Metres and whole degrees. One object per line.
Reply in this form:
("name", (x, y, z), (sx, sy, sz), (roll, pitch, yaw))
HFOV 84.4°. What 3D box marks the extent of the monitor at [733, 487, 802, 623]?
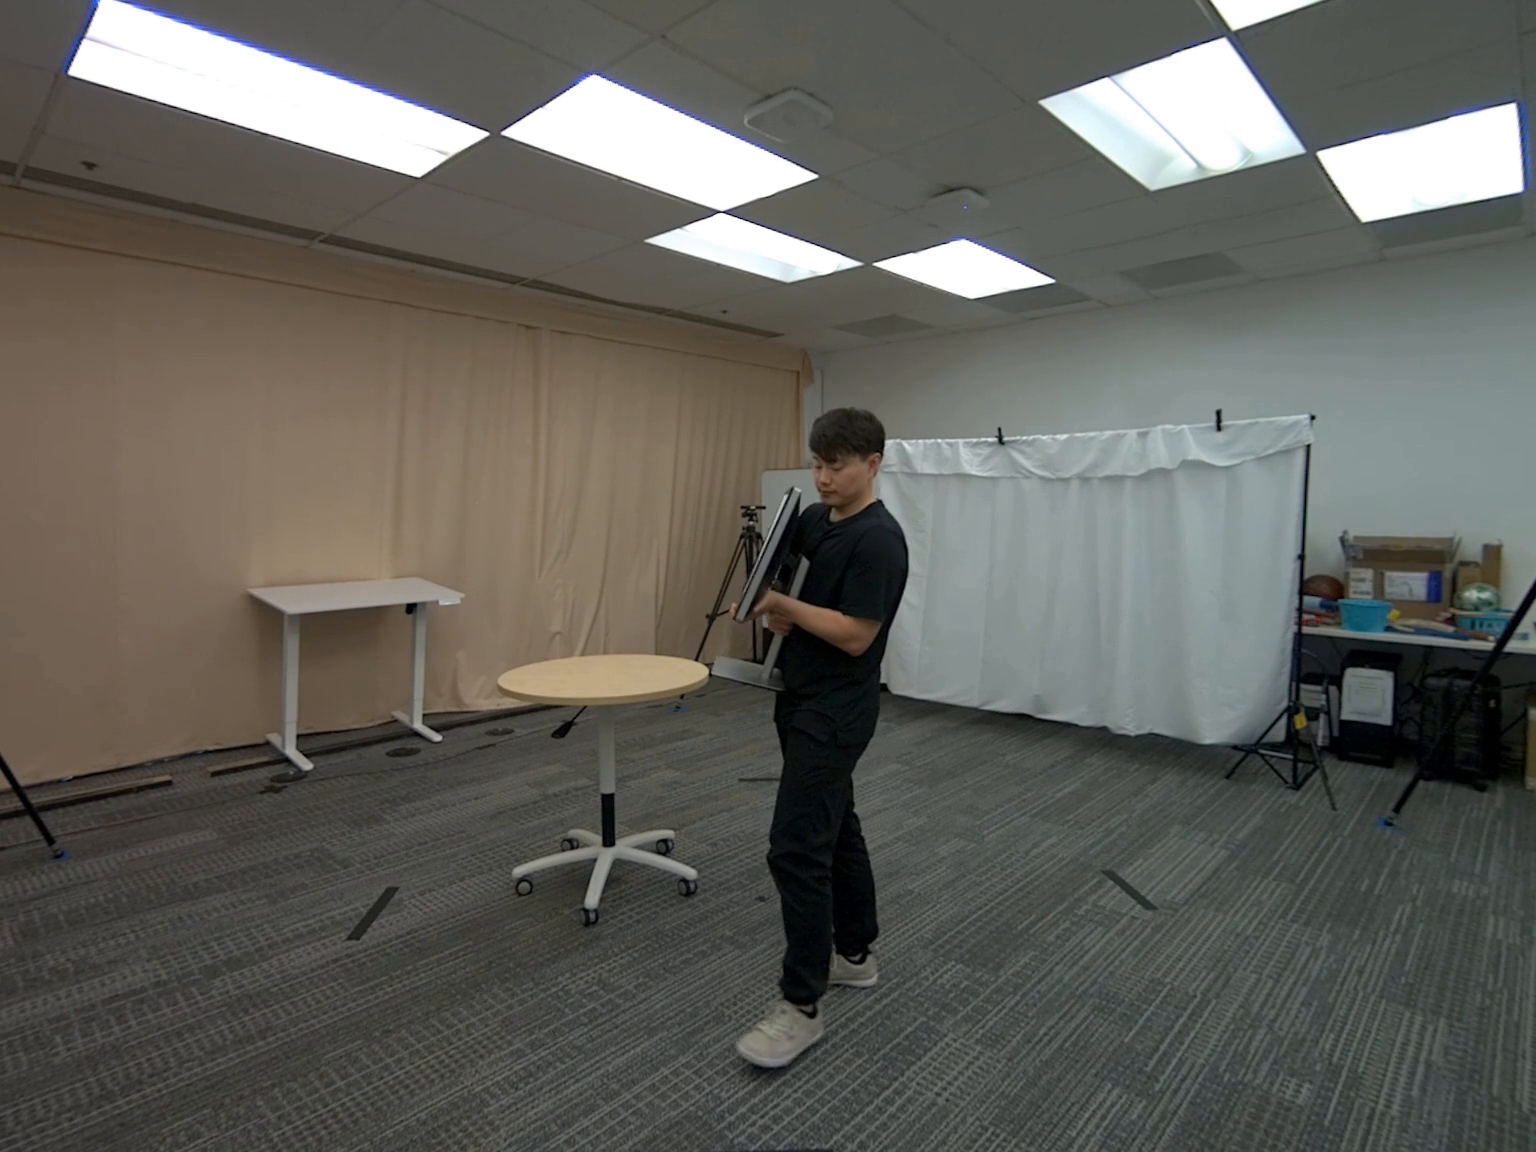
("monitor", (0.013, 0.031, 2.352), (0.187, 0.521, 0.540), (12, 5, -2))
